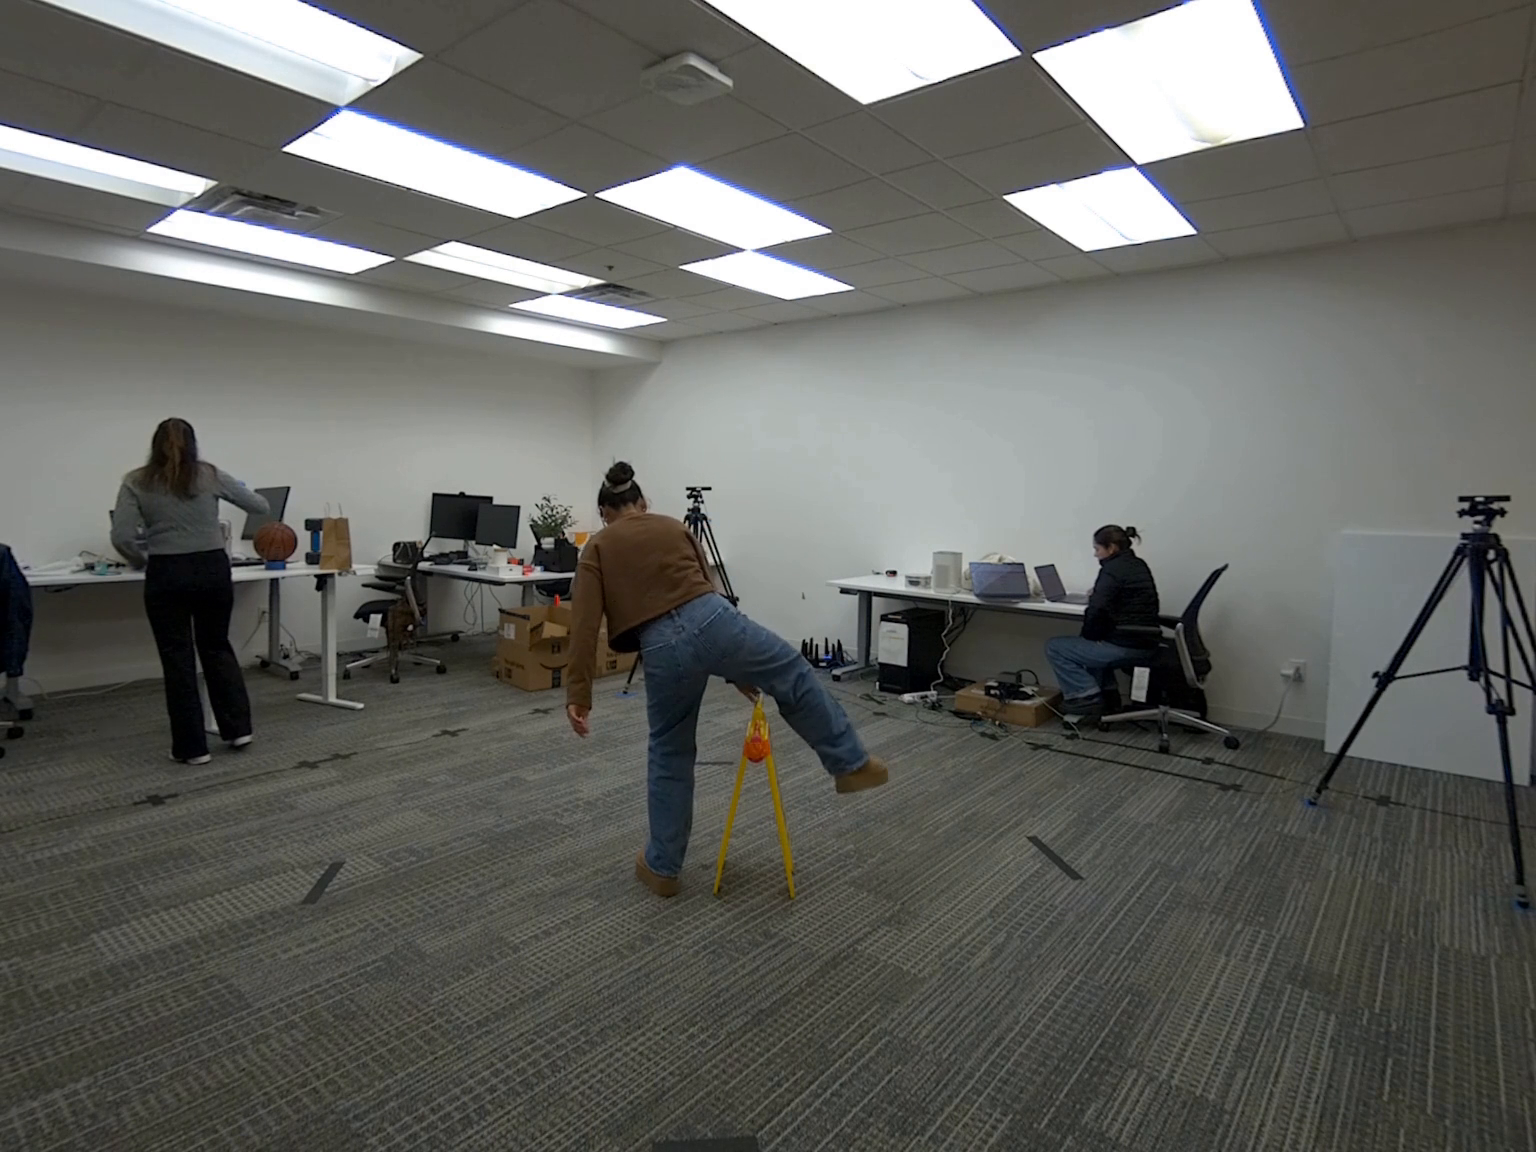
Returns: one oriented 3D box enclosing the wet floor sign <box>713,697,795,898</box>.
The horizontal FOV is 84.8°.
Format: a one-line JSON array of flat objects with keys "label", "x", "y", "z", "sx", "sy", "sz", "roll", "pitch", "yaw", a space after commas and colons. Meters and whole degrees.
[{"label": "wet floor sign", "x": -0.046, "y": 0.763, "z": 3.013, "sx": 0.291, "sy": 0.643, "sz": 0.282, "roll": 2, "pitch": 4, "yaw": 2}]
